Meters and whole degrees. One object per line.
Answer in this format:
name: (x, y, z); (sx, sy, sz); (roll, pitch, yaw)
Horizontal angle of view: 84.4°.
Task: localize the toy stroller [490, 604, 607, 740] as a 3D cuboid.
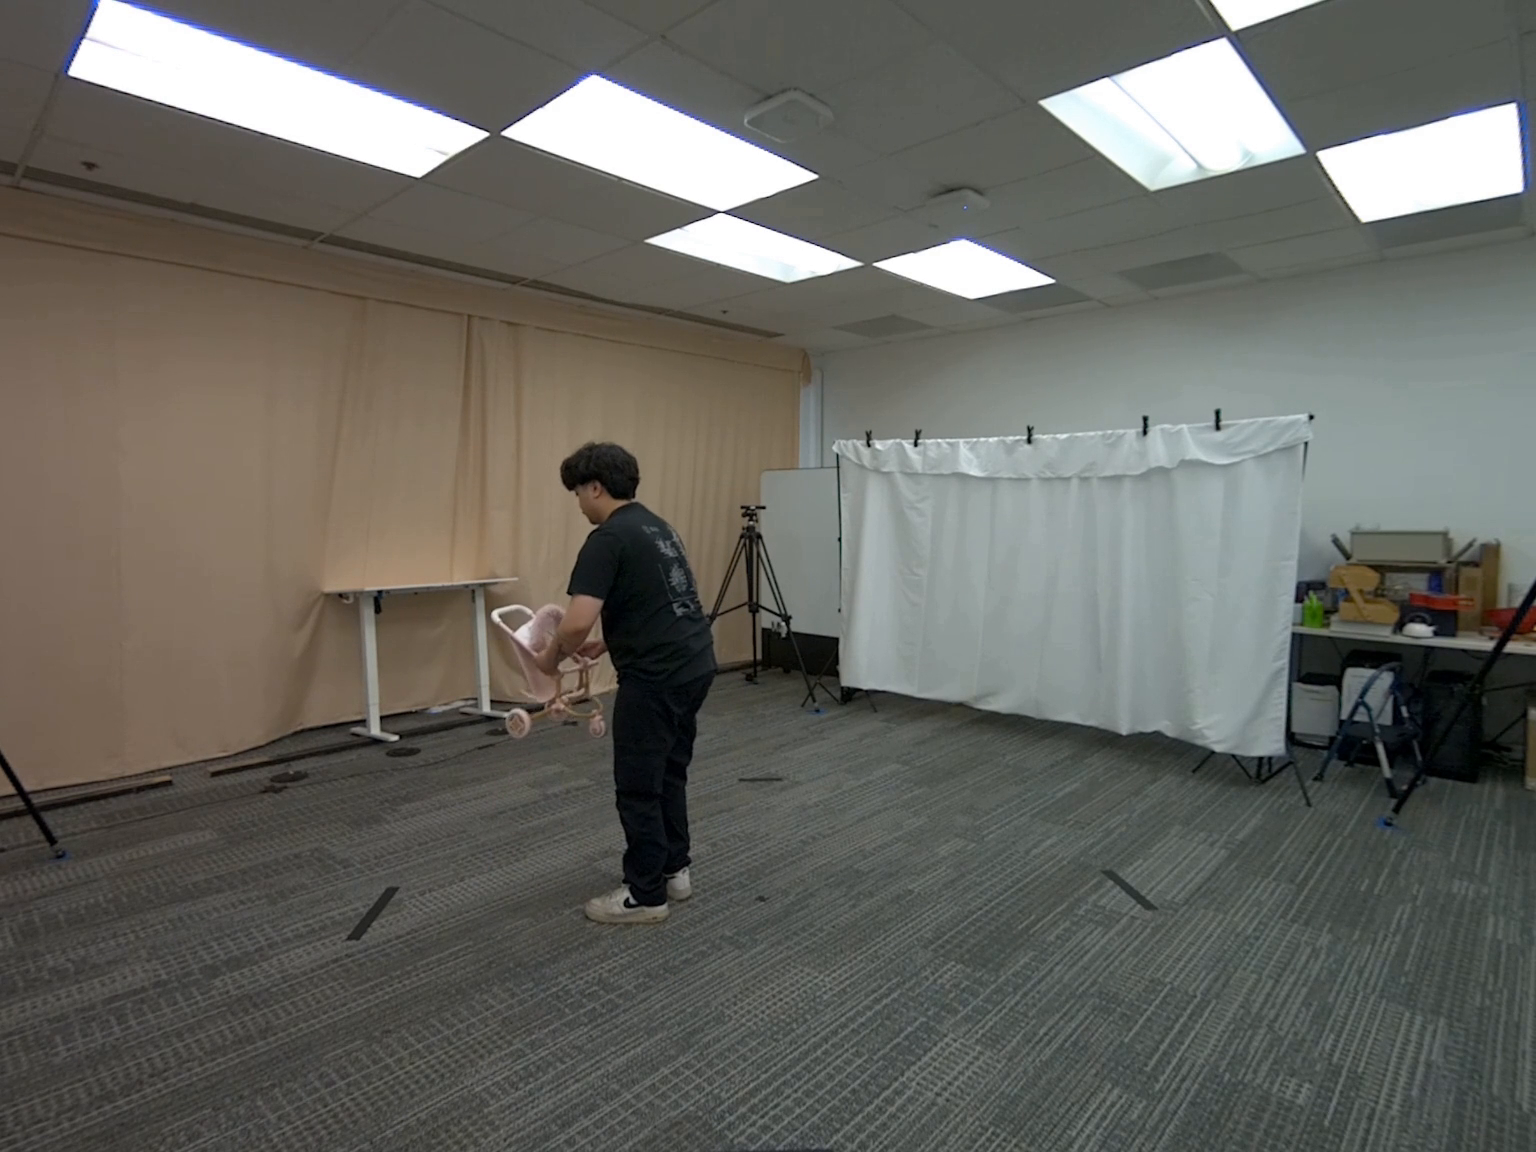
toy stroller: (-0.781, 0.360, 3.058); (0.349, 0.536, 0.274); (-14, -3, 28)
